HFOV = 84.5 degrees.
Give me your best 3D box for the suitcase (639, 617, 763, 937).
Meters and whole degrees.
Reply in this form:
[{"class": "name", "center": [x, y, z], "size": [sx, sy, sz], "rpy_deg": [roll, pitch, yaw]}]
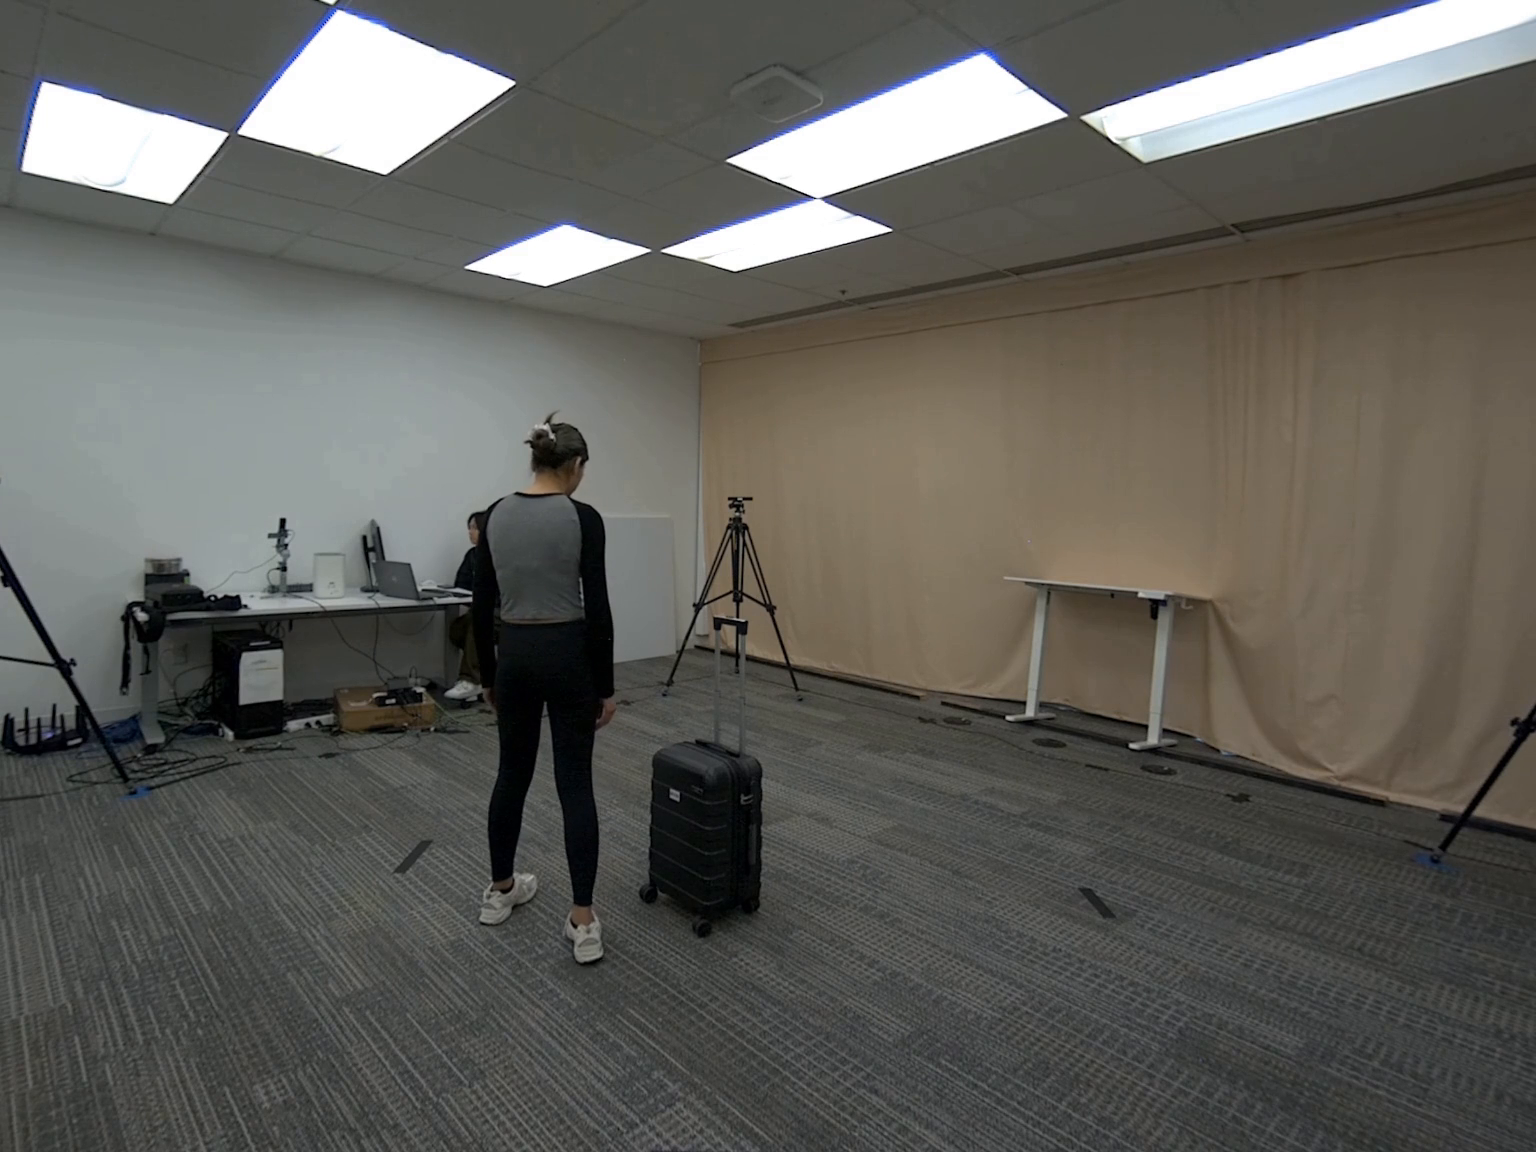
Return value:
[{"class": "suitcase", "center": [-0.218, 0.650, 2.835], "size": [0.251, 0.975, 0.394], "rpy_deg": [-3, 6, -43]}]
